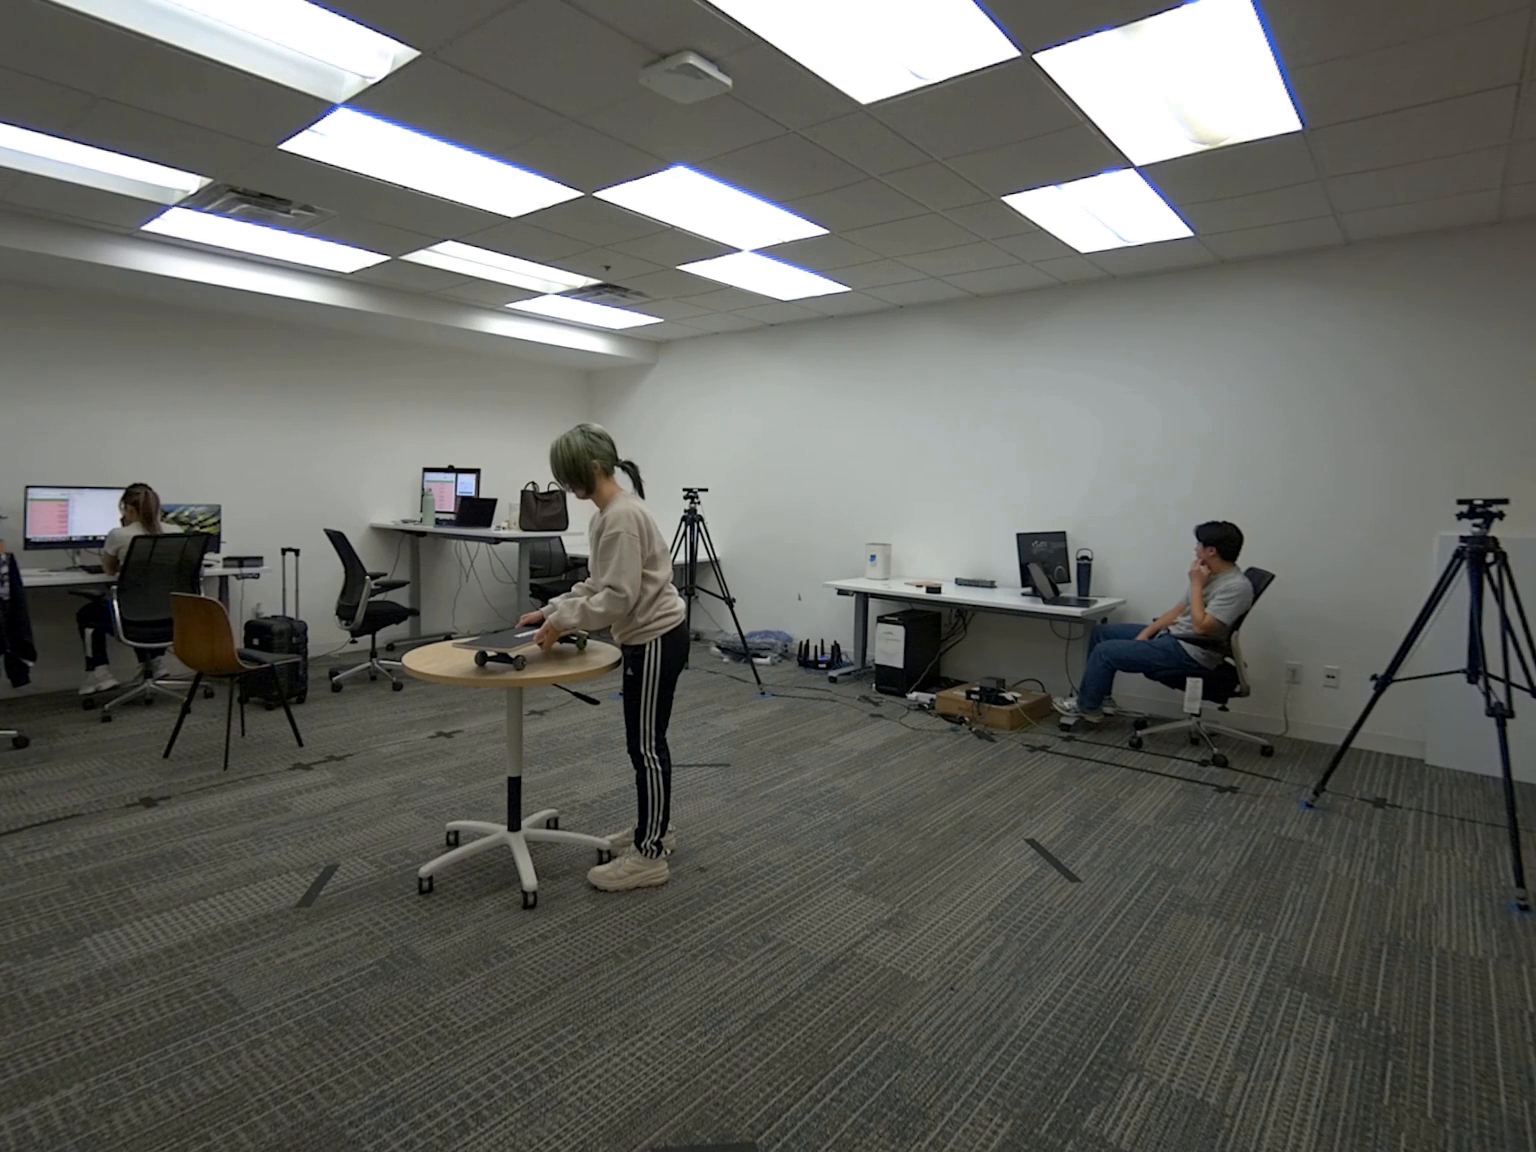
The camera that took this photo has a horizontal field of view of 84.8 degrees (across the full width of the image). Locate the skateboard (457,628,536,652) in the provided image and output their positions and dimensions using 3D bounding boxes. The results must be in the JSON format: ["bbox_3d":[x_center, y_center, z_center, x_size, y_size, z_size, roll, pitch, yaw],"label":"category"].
[{"bbox_3d":[-0.843,0.231,3.025,0.198,0.110,0.772,4,6,18],"label":"skateboard"}]
